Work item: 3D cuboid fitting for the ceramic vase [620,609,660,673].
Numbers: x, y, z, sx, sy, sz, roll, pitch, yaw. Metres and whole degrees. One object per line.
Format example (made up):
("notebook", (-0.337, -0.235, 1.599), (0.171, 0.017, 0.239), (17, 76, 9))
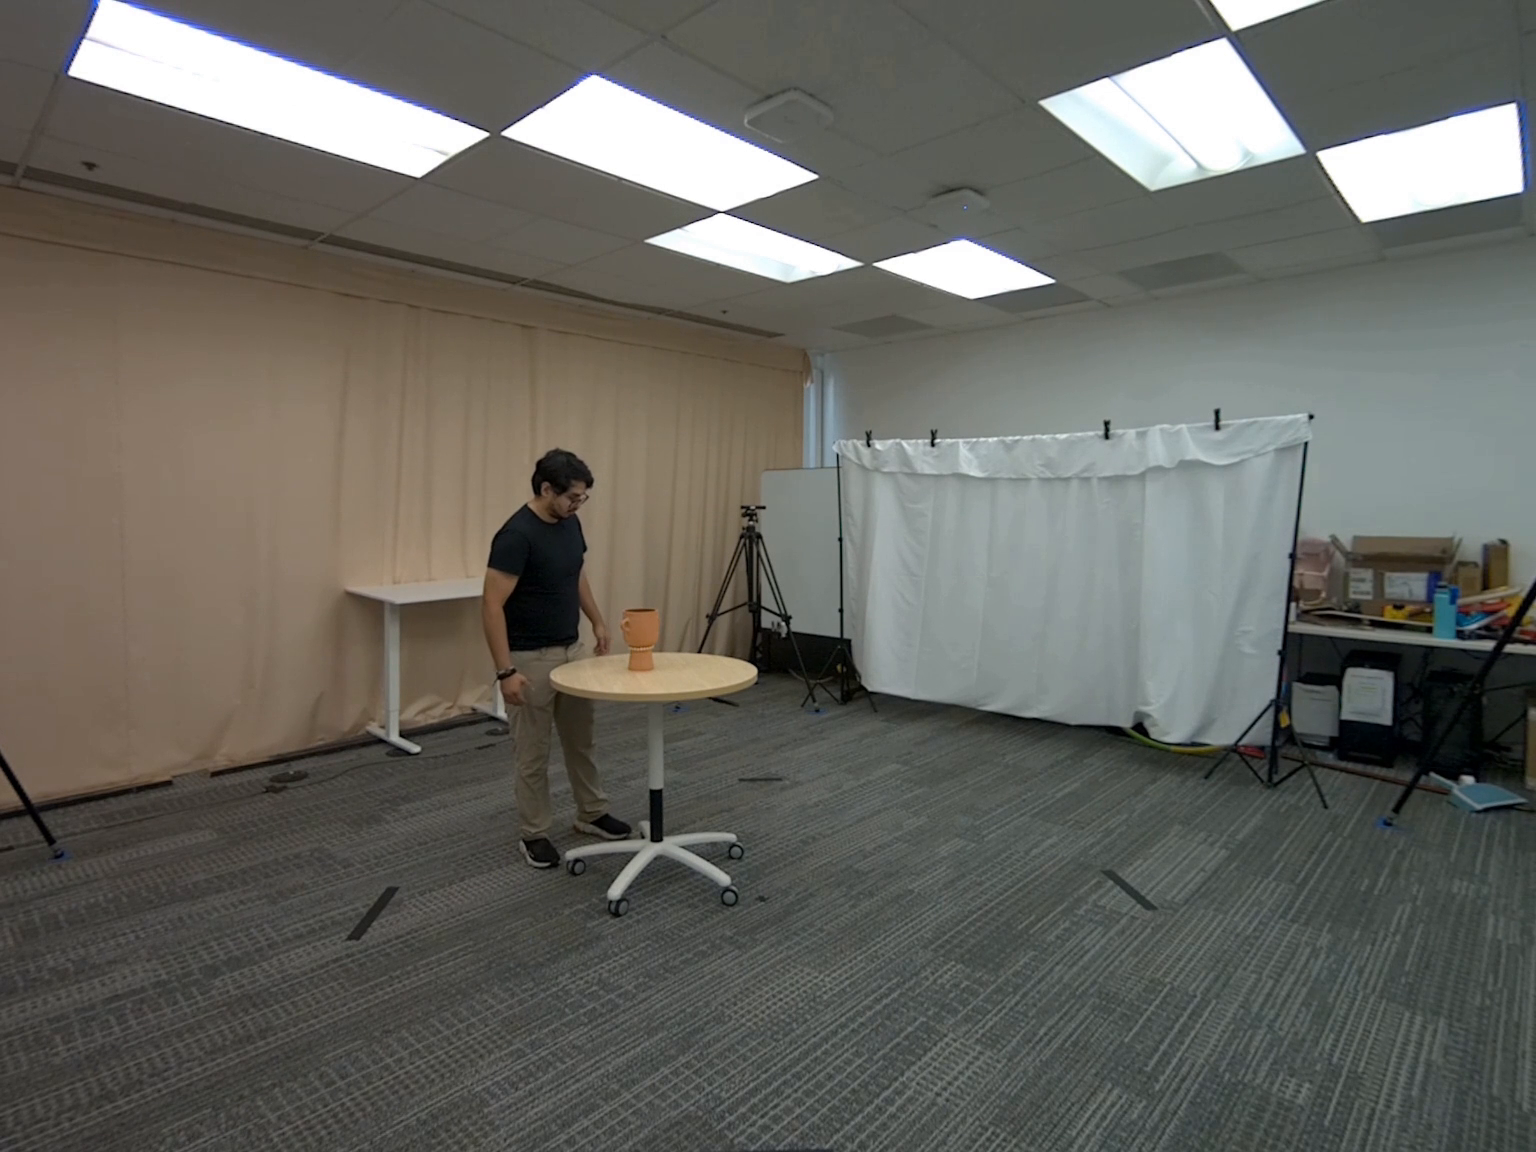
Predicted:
("ceramic vase", (-0.490, 0.246, 3.161), (0.157, 0.219, 0.136), (-5, 3, -13))
